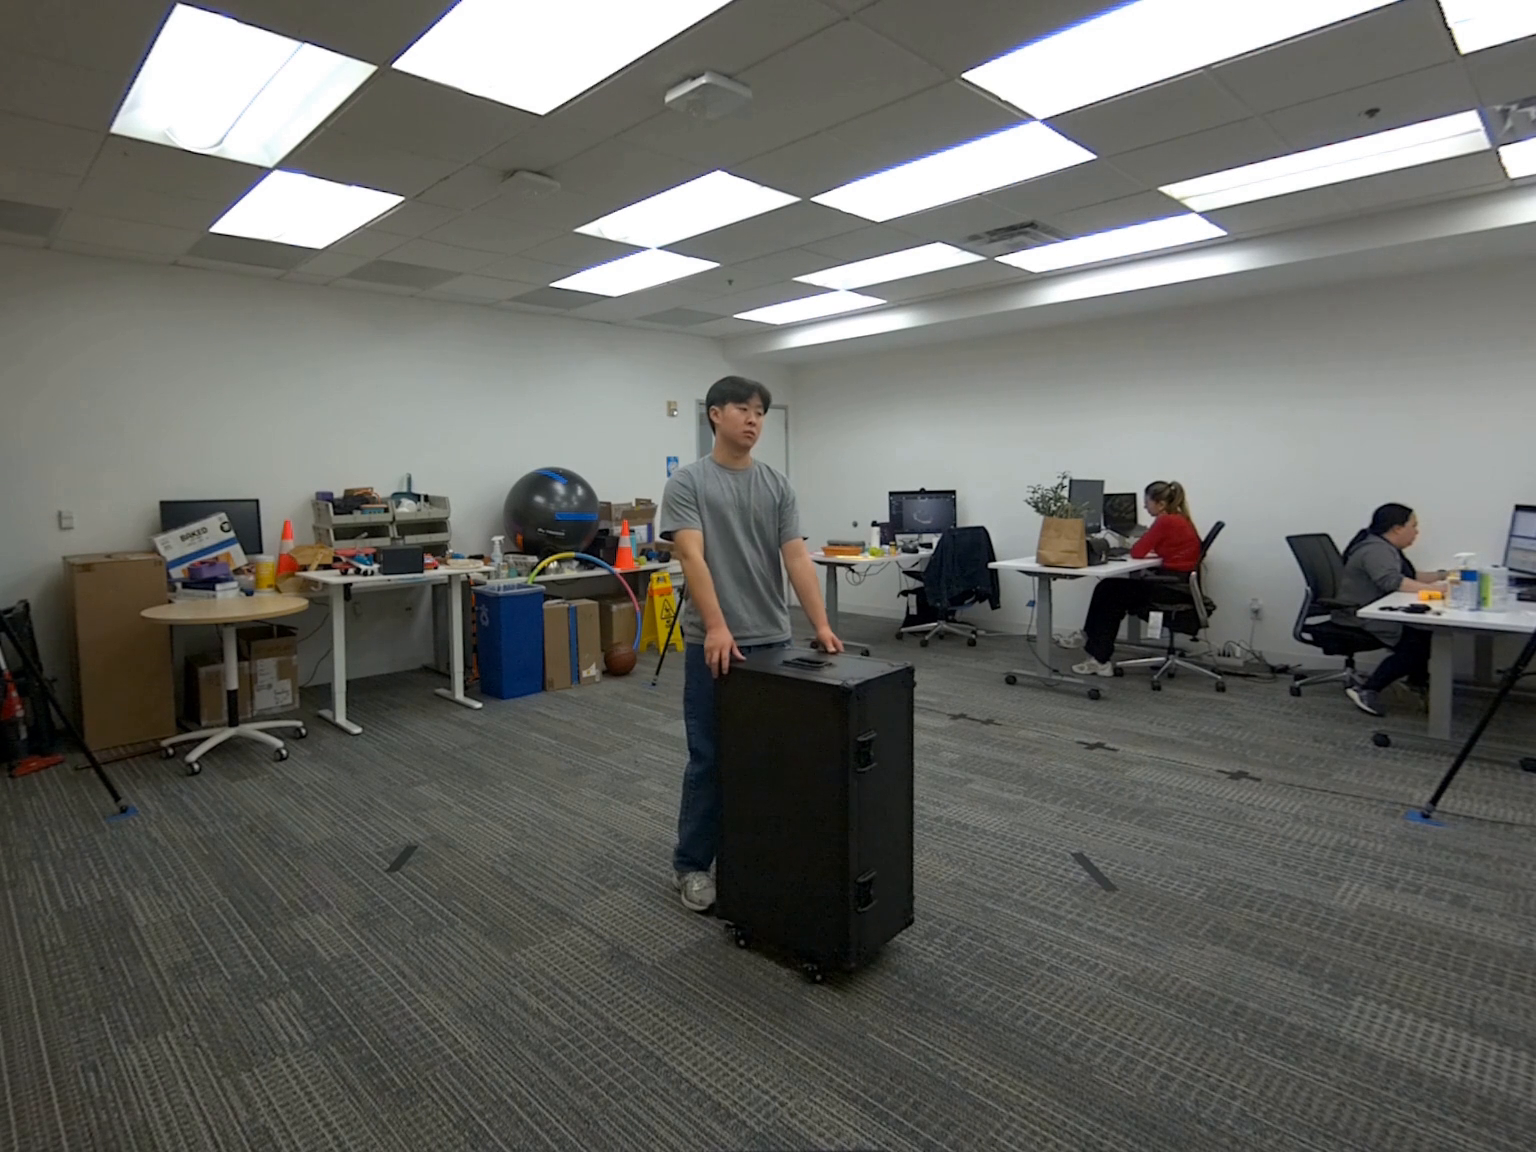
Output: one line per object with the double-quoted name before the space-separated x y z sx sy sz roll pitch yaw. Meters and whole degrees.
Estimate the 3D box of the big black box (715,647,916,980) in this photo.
"big black box" 0.140 0.684 2.551 0.537 0.859 0.386 2 4 39
